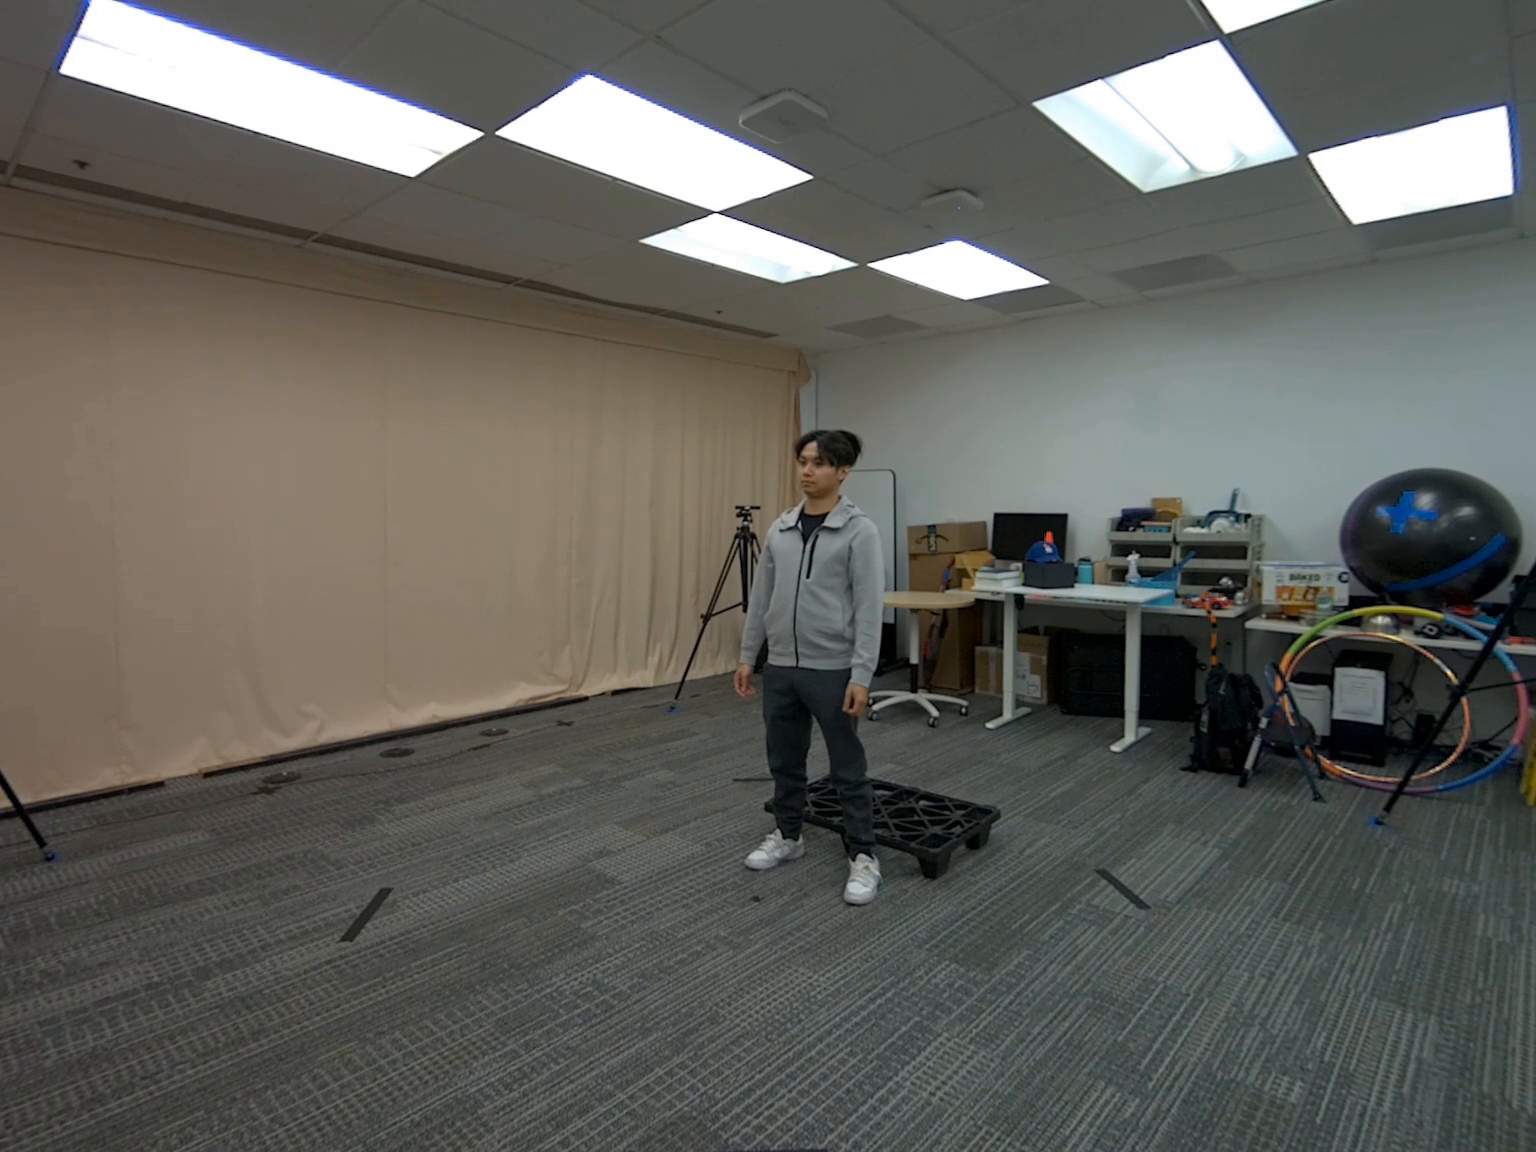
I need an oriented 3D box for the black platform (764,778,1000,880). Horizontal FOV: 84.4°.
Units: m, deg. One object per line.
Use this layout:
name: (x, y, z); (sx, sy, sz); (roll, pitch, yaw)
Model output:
black platform: (0.474, 1.027, 3.529); (0.832, 0.143, 0.587); (4, 6, 39)
